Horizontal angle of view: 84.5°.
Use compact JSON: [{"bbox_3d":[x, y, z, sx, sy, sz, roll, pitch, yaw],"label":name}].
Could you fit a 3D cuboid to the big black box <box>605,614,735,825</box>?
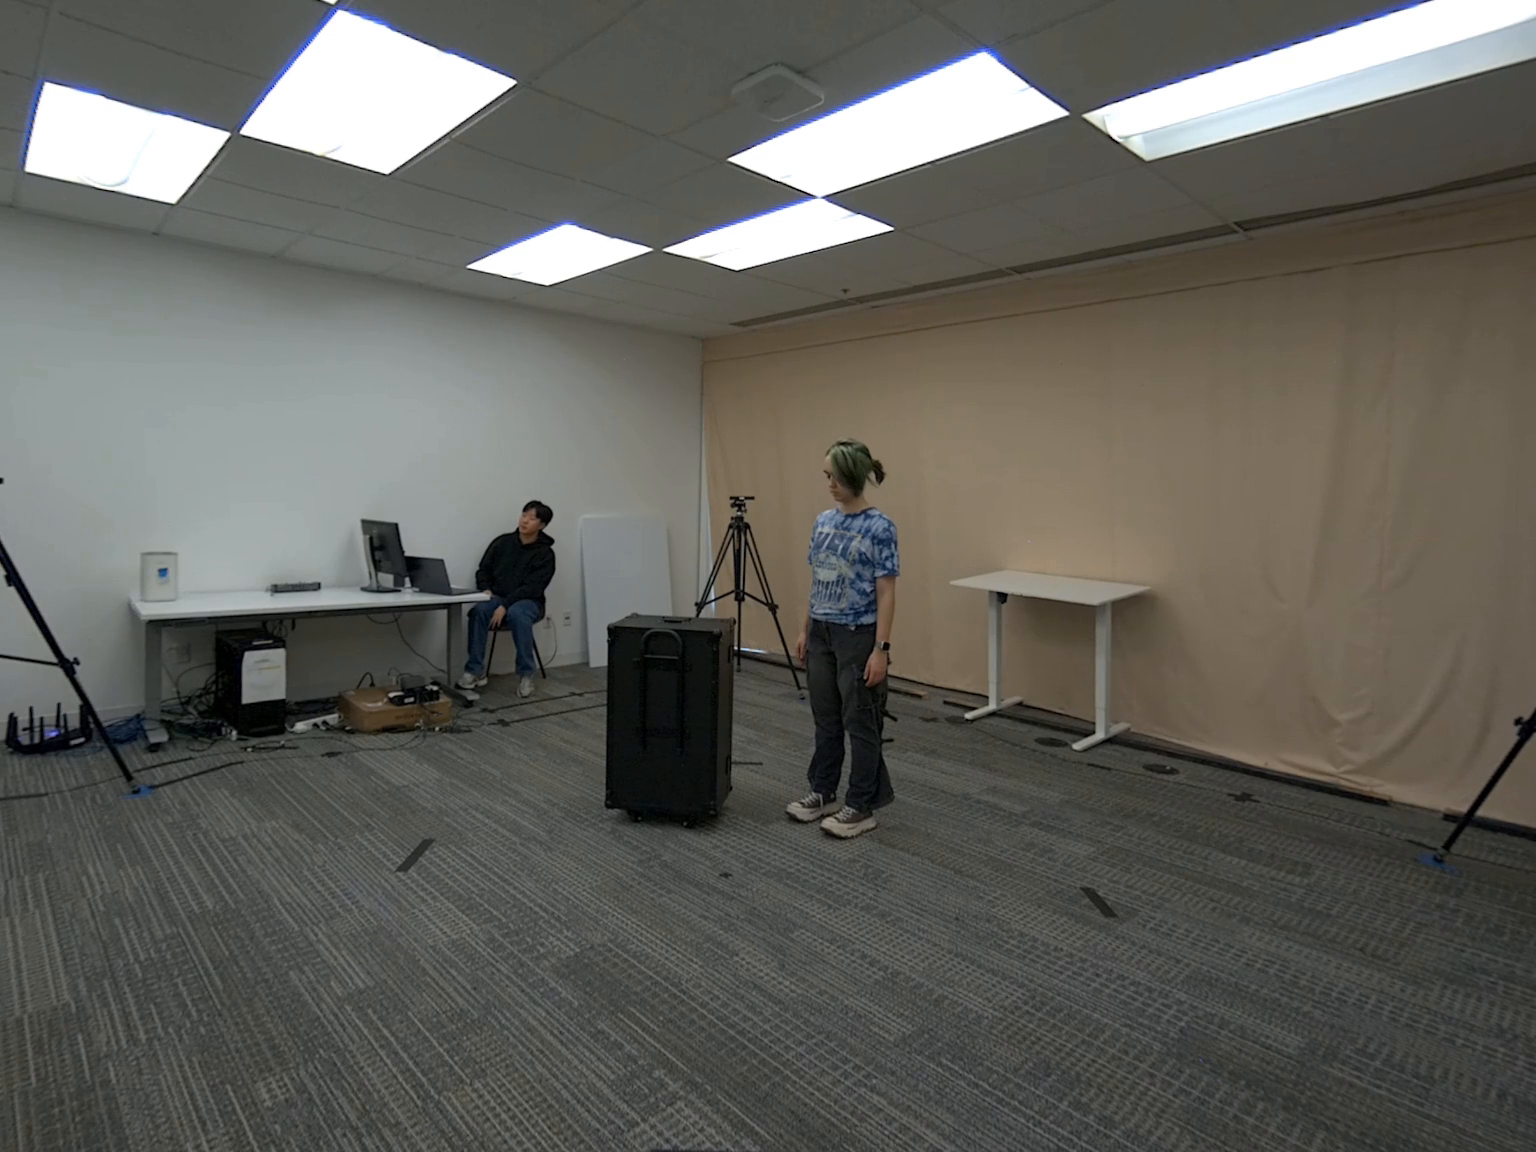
[{"bbox_3d":[-0.418,0.621,3.653,0.526,0.858,0.394,3,5,10],"label":"big black box"}]
